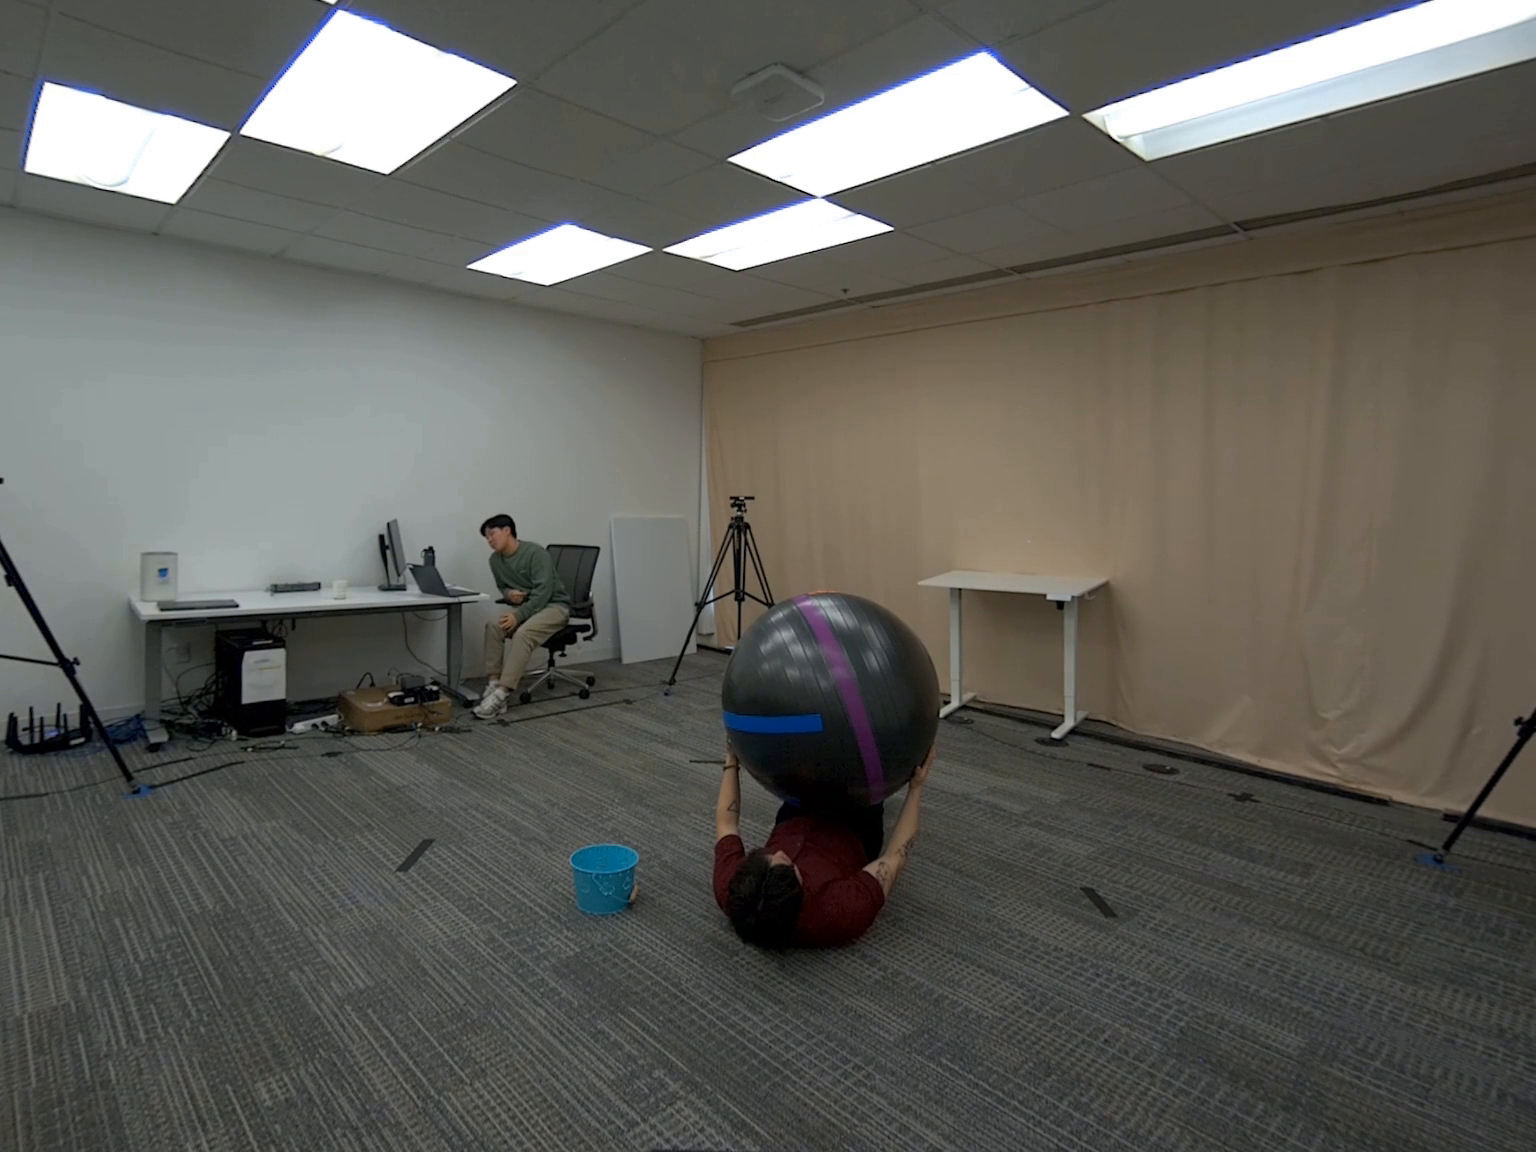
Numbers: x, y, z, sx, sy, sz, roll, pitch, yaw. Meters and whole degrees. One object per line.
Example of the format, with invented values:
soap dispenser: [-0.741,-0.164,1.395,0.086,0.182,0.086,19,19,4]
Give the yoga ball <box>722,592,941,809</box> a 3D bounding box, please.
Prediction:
yoga ball: [0.214,0.436,2.968,0.757,0.756,0.761,1,4,-1]
